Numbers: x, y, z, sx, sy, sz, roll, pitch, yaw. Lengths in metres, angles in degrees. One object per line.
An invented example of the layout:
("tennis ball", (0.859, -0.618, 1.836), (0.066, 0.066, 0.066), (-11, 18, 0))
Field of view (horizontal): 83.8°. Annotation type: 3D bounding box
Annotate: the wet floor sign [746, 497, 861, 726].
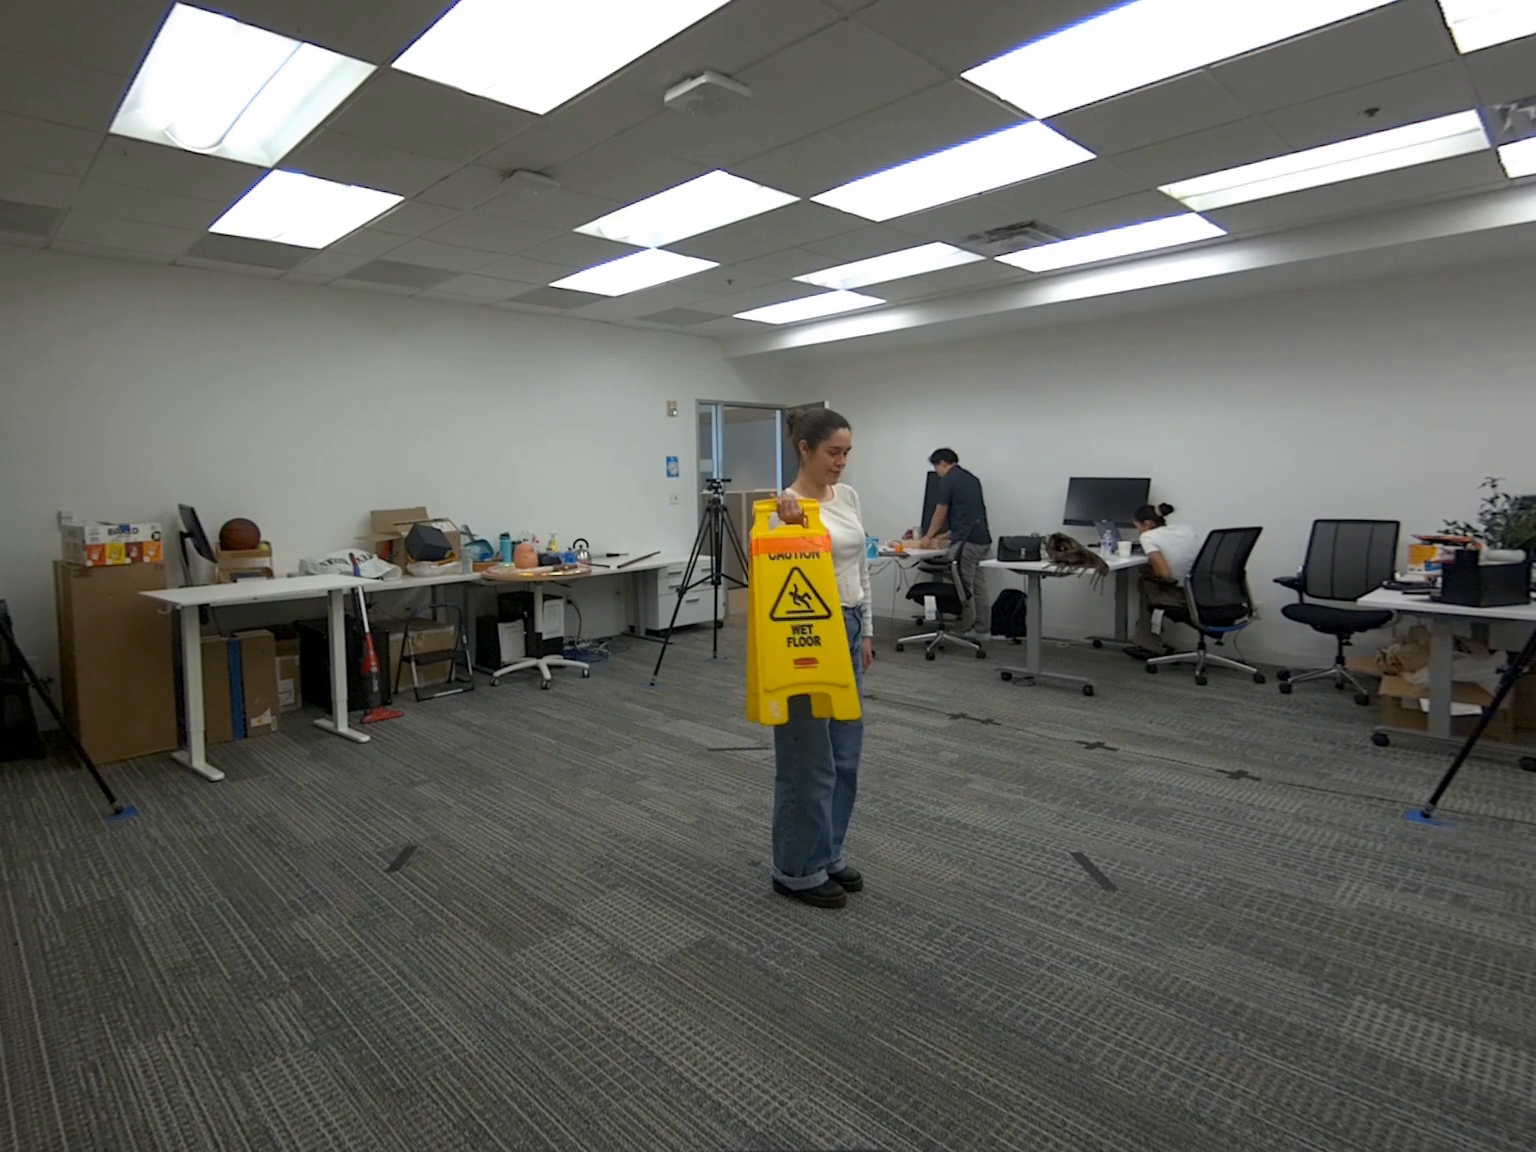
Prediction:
("wet floor sign", (0.079, 0.107, 2.501), (0.280, 0.652, 0.289), (-2, -10, -8))
